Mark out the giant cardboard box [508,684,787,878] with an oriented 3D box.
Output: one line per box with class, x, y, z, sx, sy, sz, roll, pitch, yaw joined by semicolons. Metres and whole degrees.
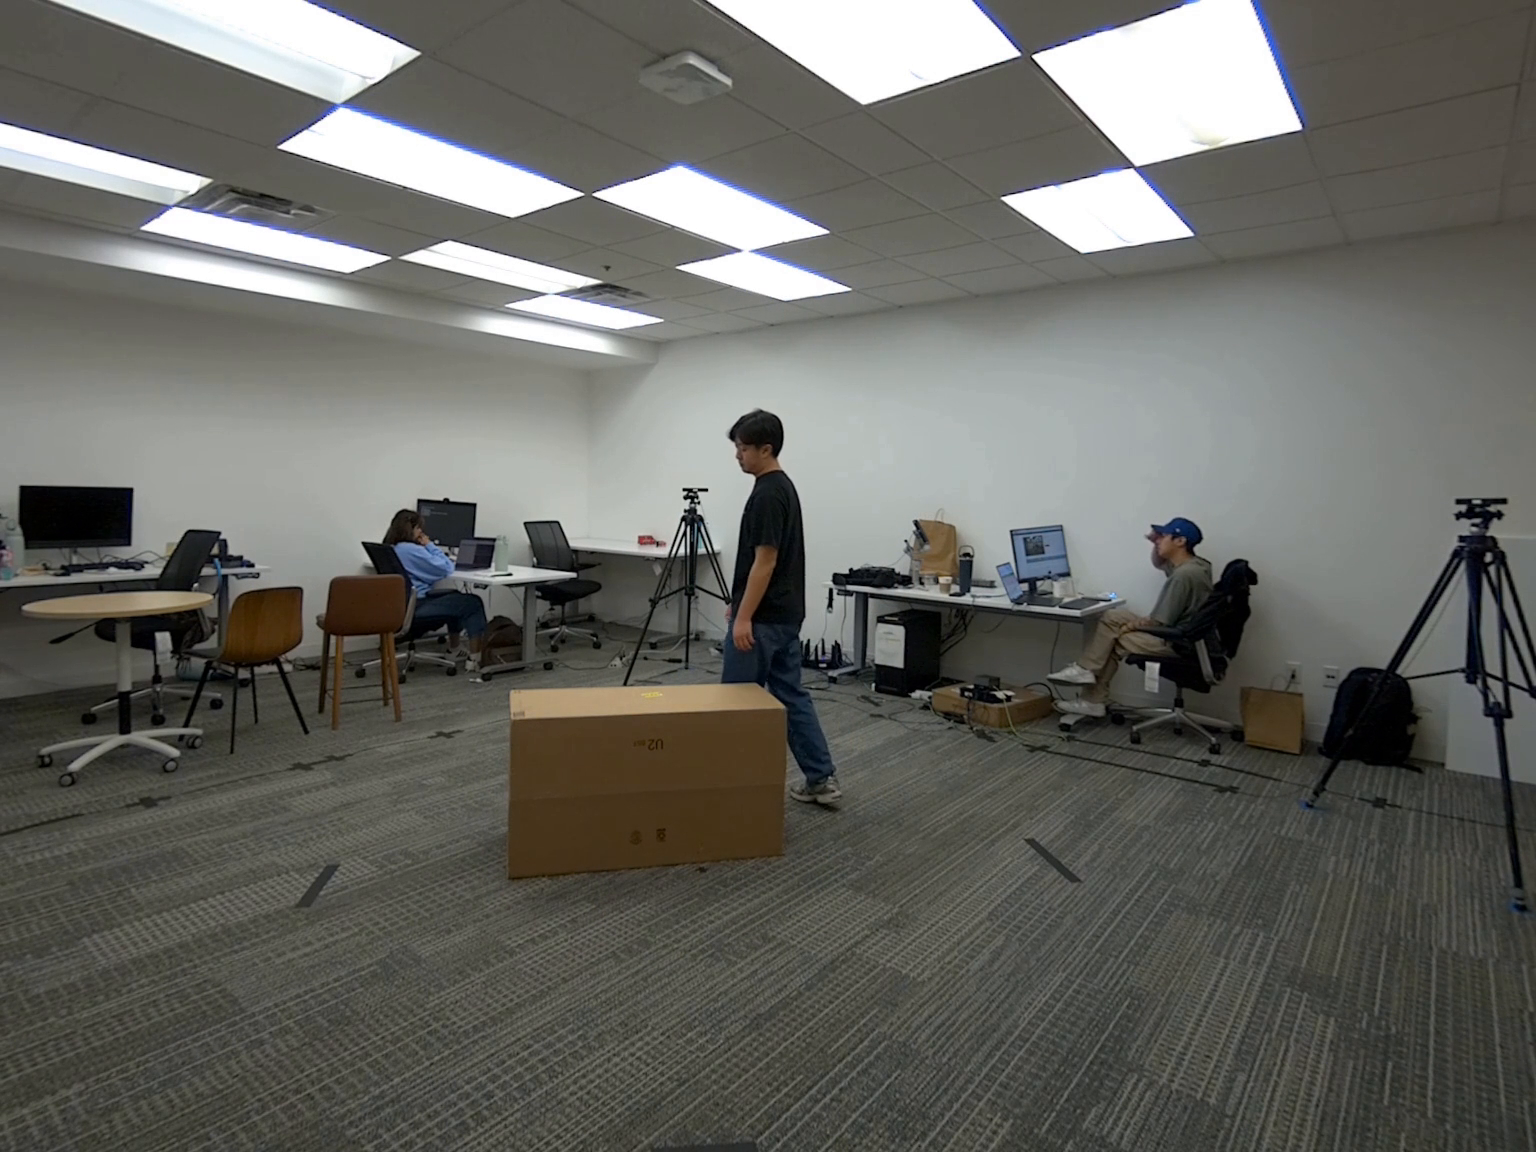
giant cardboard box;-0.496;0.758;3.306;1.011;0.583;0.455;0;3;-15
